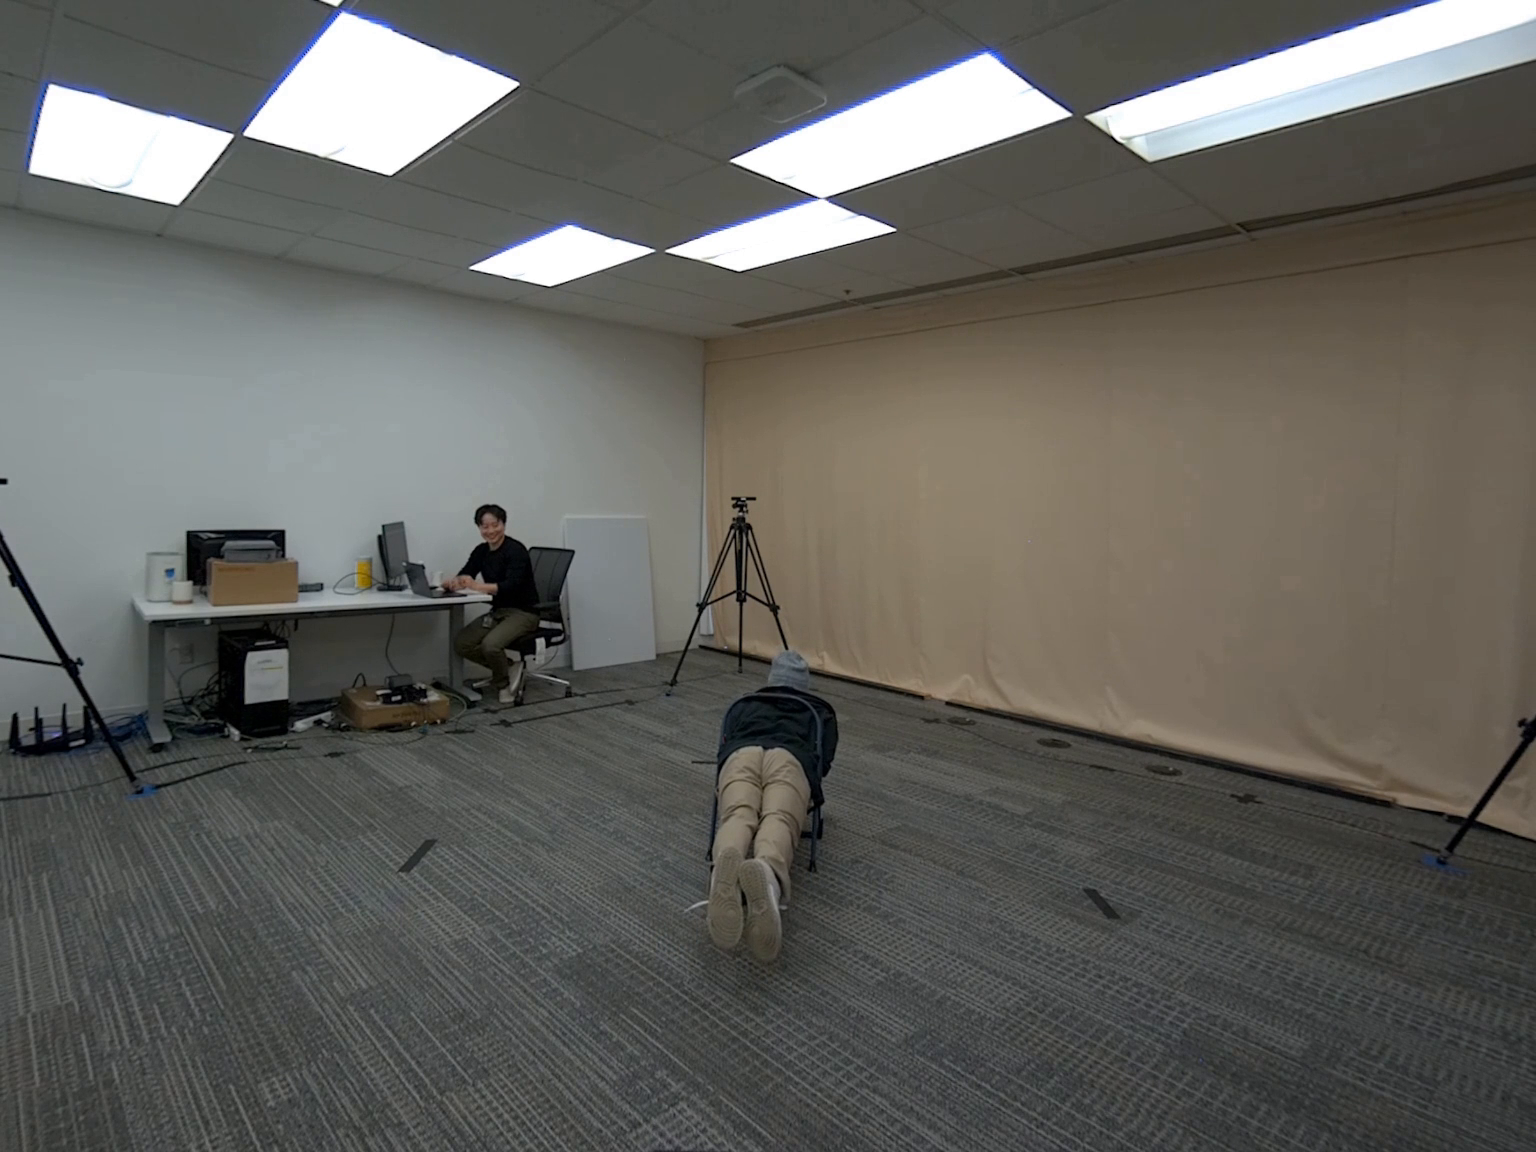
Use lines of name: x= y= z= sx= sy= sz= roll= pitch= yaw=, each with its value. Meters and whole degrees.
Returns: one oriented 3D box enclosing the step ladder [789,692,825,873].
step ladder: x=-0.005 y=0.797 z=3.352 sx=0.434 sy=0.605 sz=0.347 roll=2 pitch=3 yaw=10
